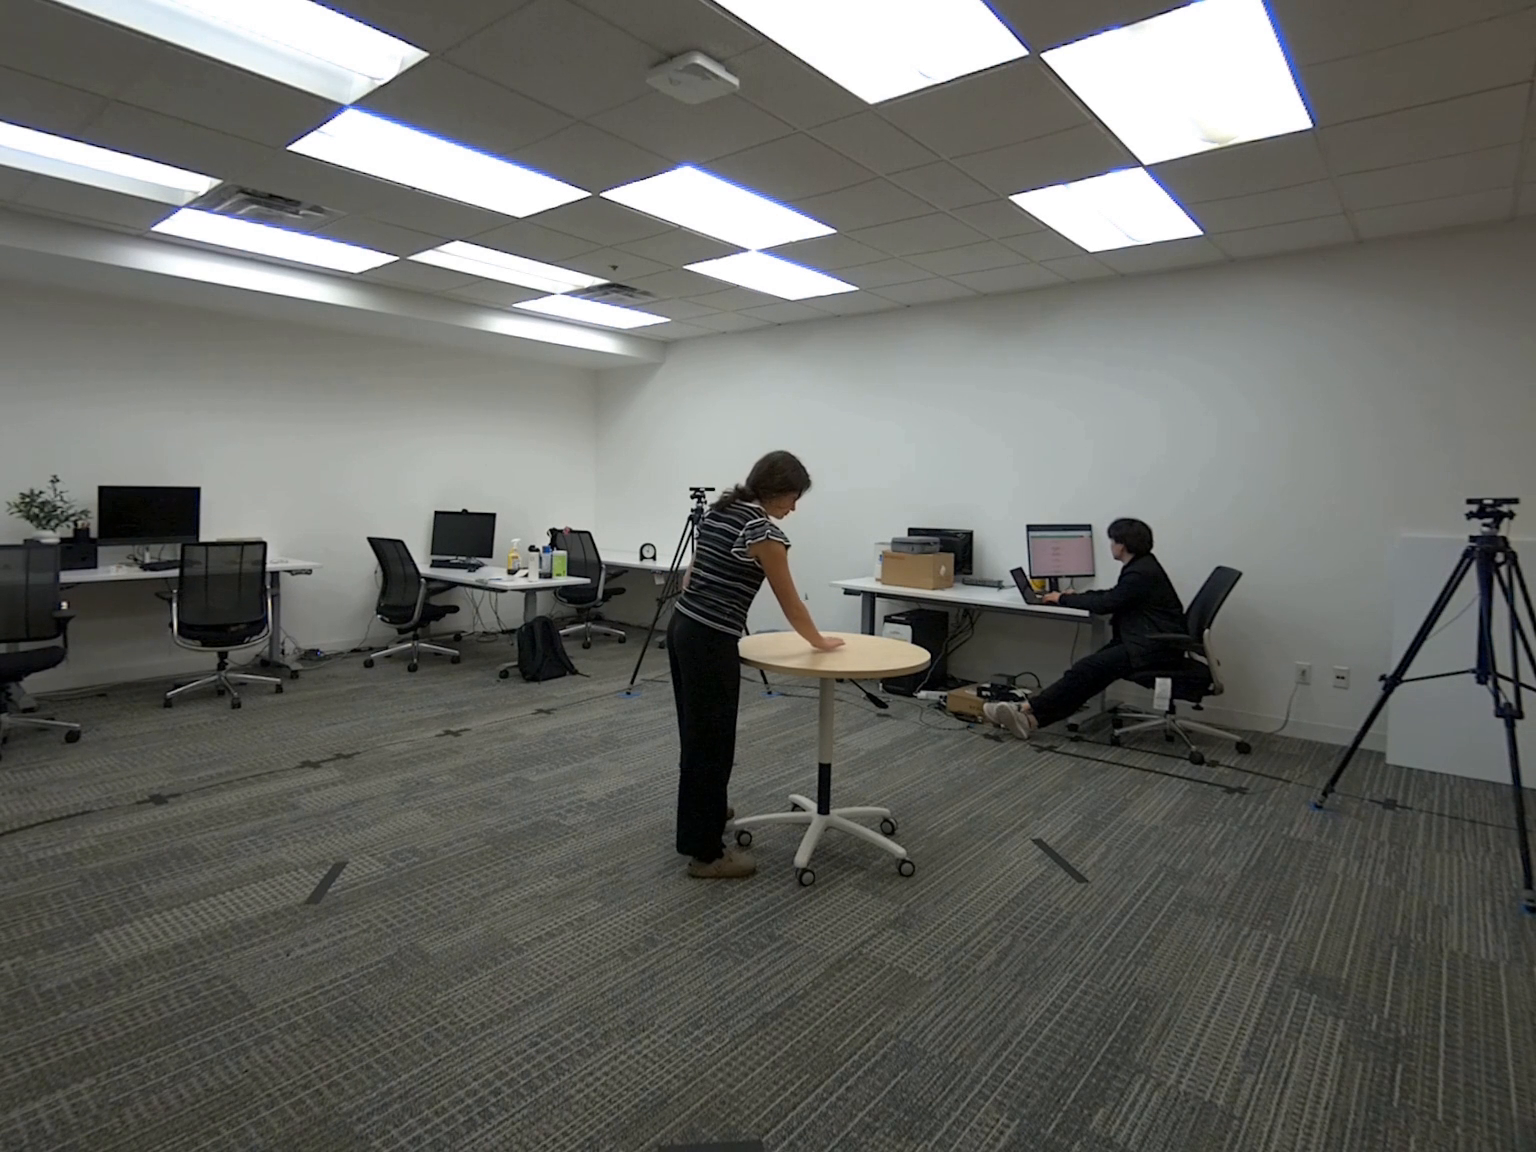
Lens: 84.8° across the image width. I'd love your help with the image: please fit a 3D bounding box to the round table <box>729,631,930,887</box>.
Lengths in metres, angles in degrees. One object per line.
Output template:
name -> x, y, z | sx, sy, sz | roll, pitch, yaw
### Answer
round table -> 0.216, 0.672, 3.292 | 0.763, 0.791, 0.768 | 1, 5, -2
